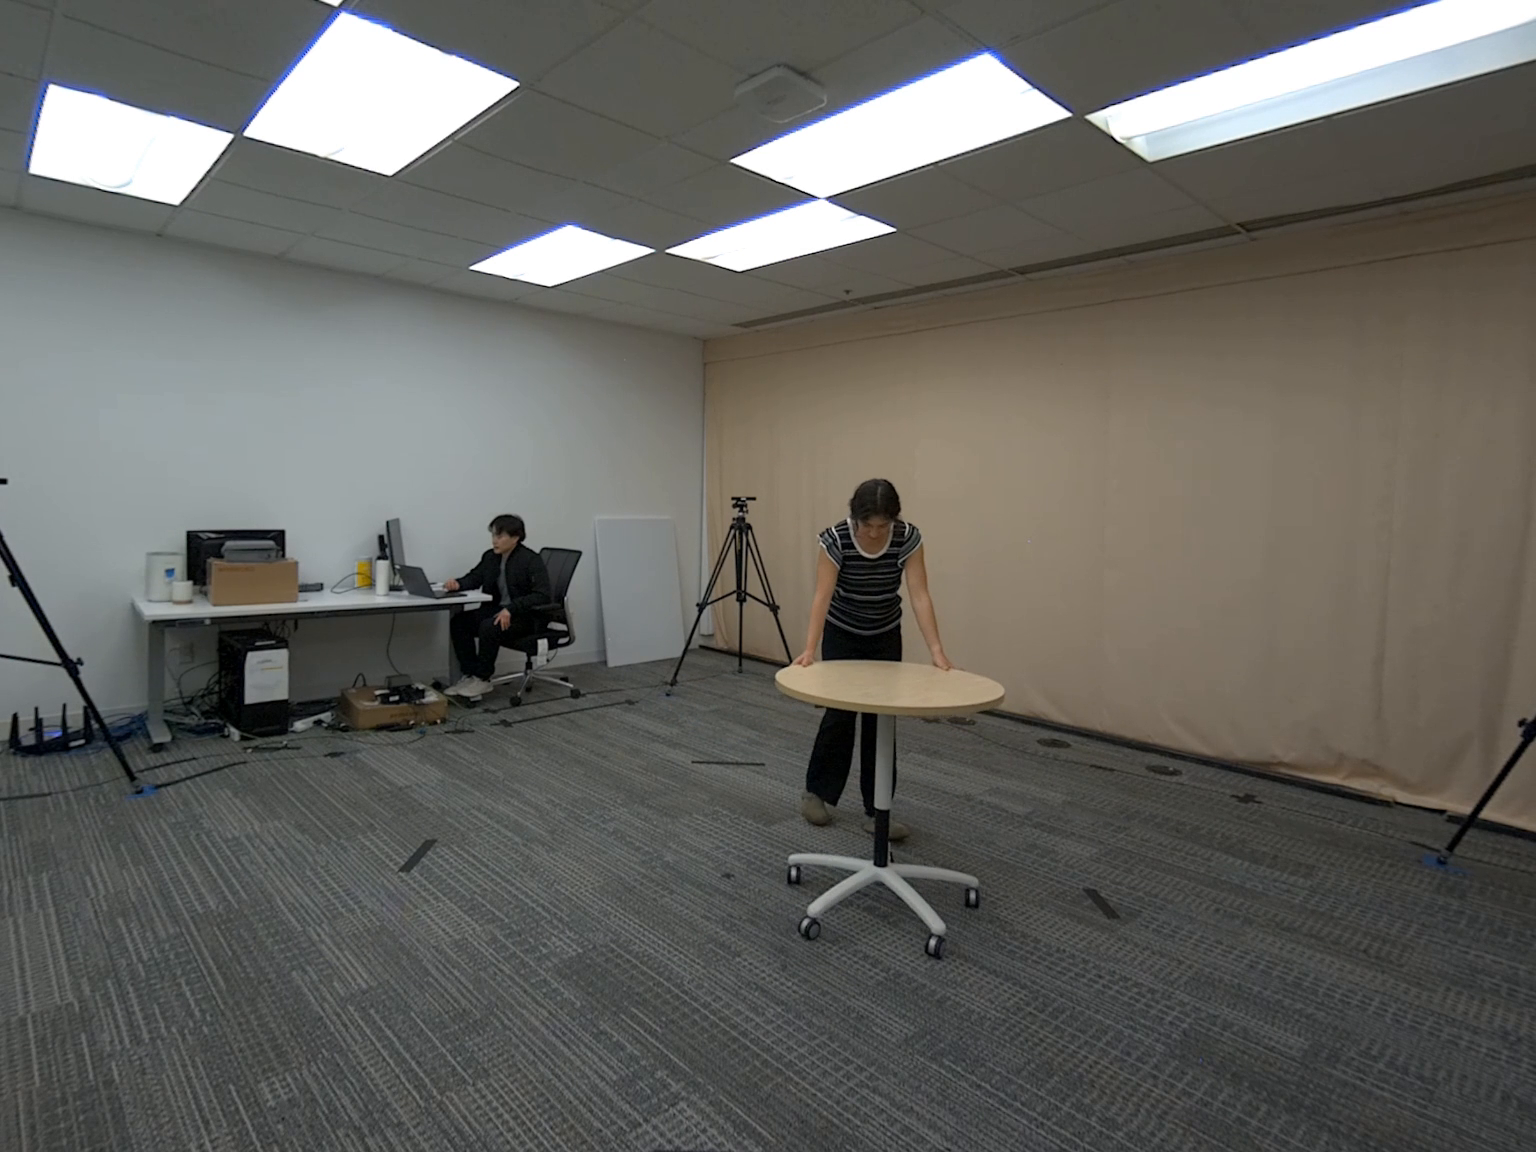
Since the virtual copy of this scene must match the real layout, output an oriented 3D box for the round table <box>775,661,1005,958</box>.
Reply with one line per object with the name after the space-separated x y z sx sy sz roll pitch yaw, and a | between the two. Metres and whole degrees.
0.382 0.753 2.880 0.763 0.792 0.766 2 3 -1 | round table
